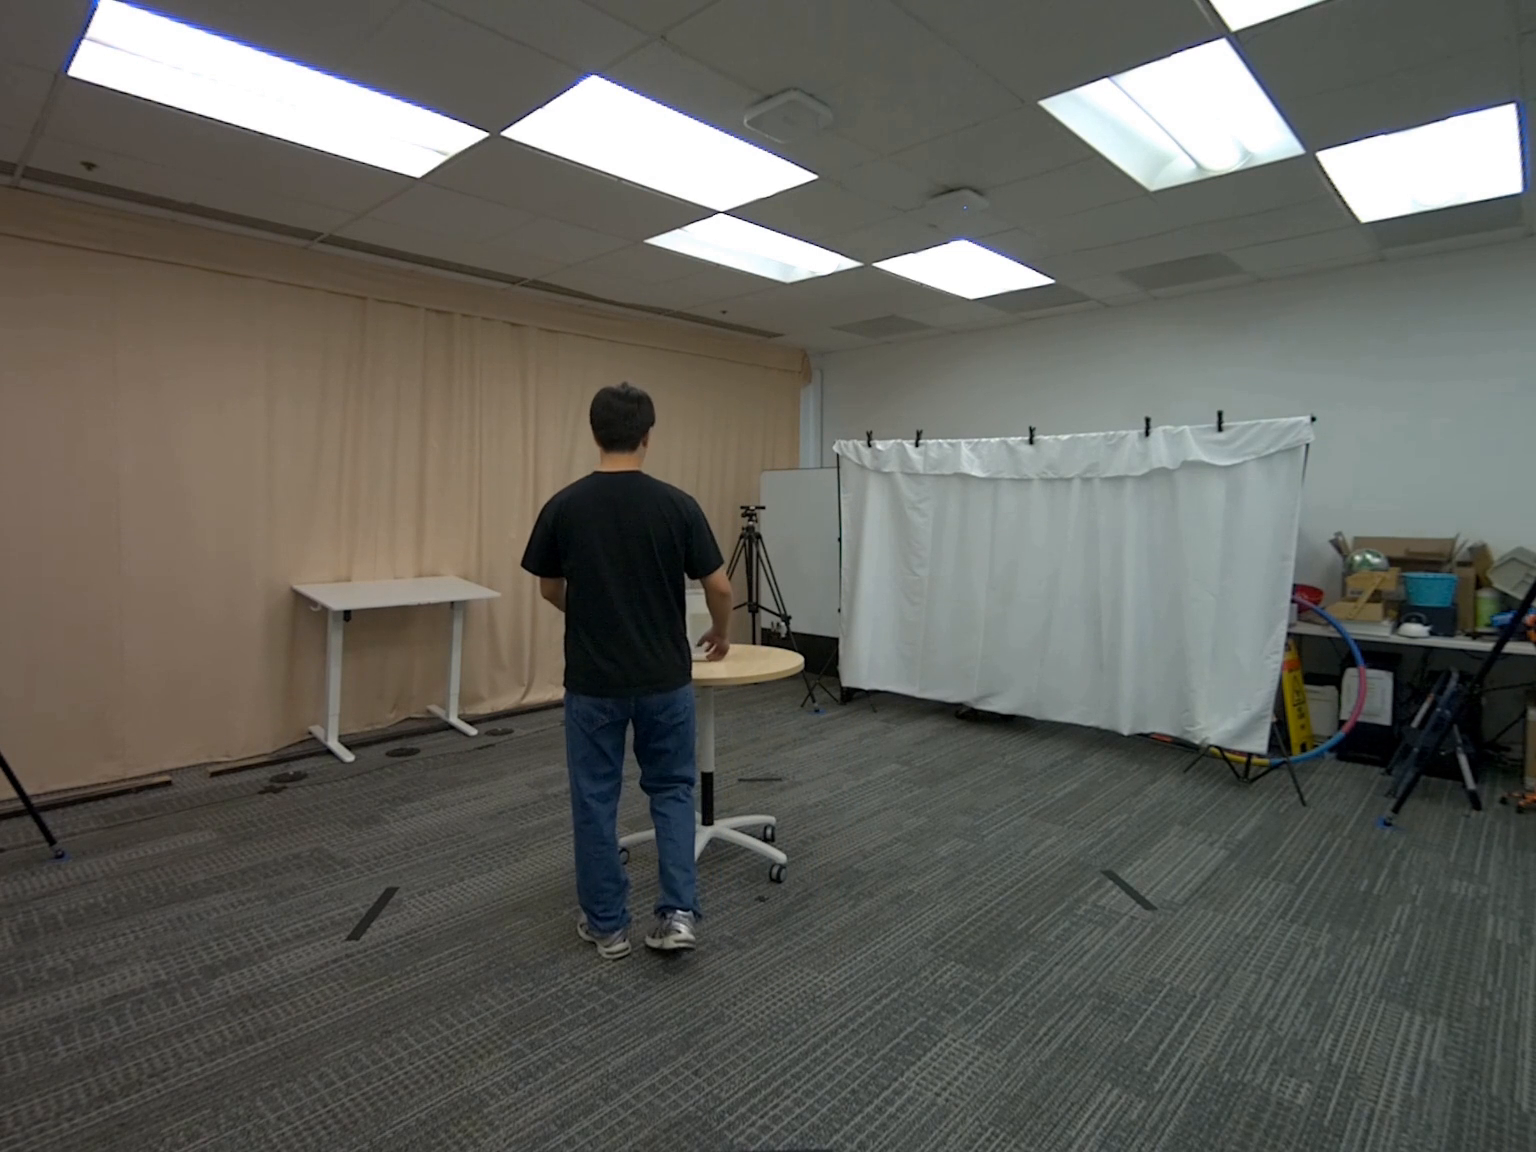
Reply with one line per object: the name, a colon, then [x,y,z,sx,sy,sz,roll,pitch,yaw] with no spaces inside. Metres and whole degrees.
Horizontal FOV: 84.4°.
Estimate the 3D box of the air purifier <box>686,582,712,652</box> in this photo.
air purifier: [-0.253,0.192,3.295,0.172,0.265,0.170,0,2,3]
